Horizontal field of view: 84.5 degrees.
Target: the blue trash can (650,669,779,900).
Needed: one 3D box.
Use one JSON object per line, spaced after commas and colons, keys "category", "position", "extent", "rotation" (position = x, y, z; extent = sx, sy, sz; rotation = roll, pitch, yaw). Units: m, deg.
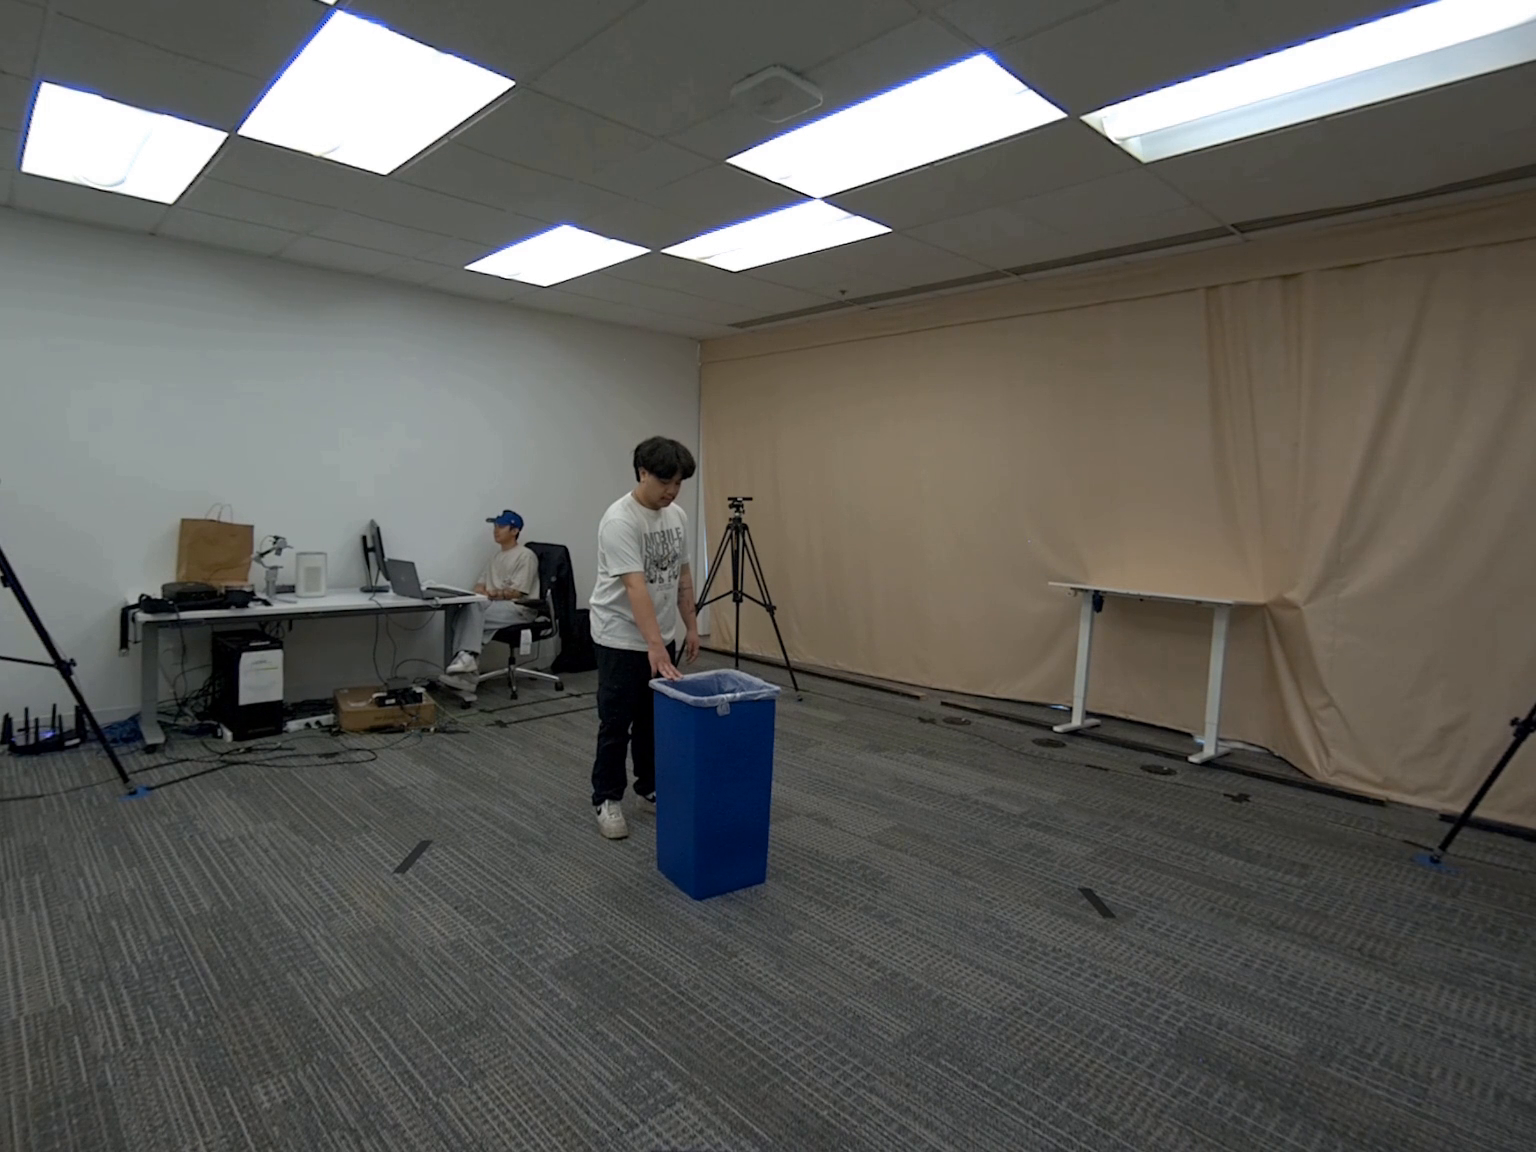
{"category": "blue trash can", "position": [-0.215, 0.749, 3.095], "extent": [0.370, 0.712, 0.383], "rotation": [-1, 4, -34]}
